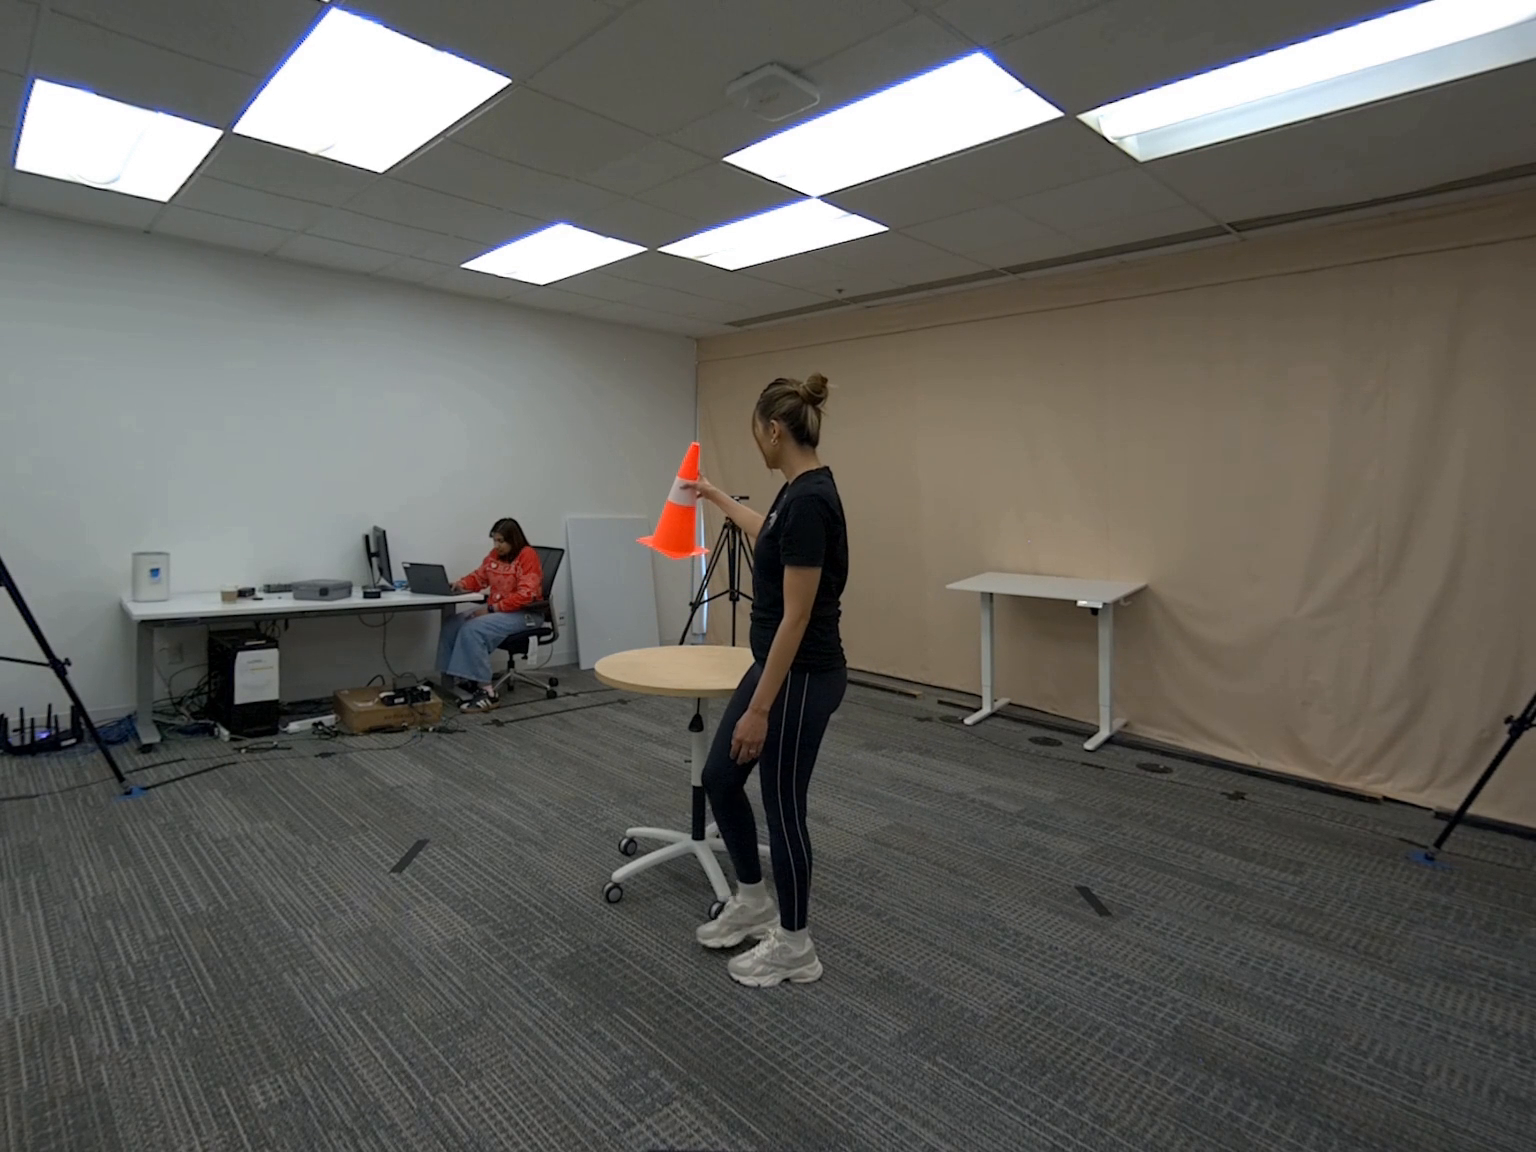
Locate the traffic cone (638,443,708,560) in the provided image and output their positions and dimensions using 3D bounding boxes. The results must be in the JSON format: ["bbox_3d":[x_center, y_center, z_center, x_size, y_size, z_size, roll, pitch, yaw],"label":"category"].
[{"bbox_3d":[-0.306,-0.276,2.958,0.211,0.380,0.199,24,22,32],"label":"traffic cone"}]
